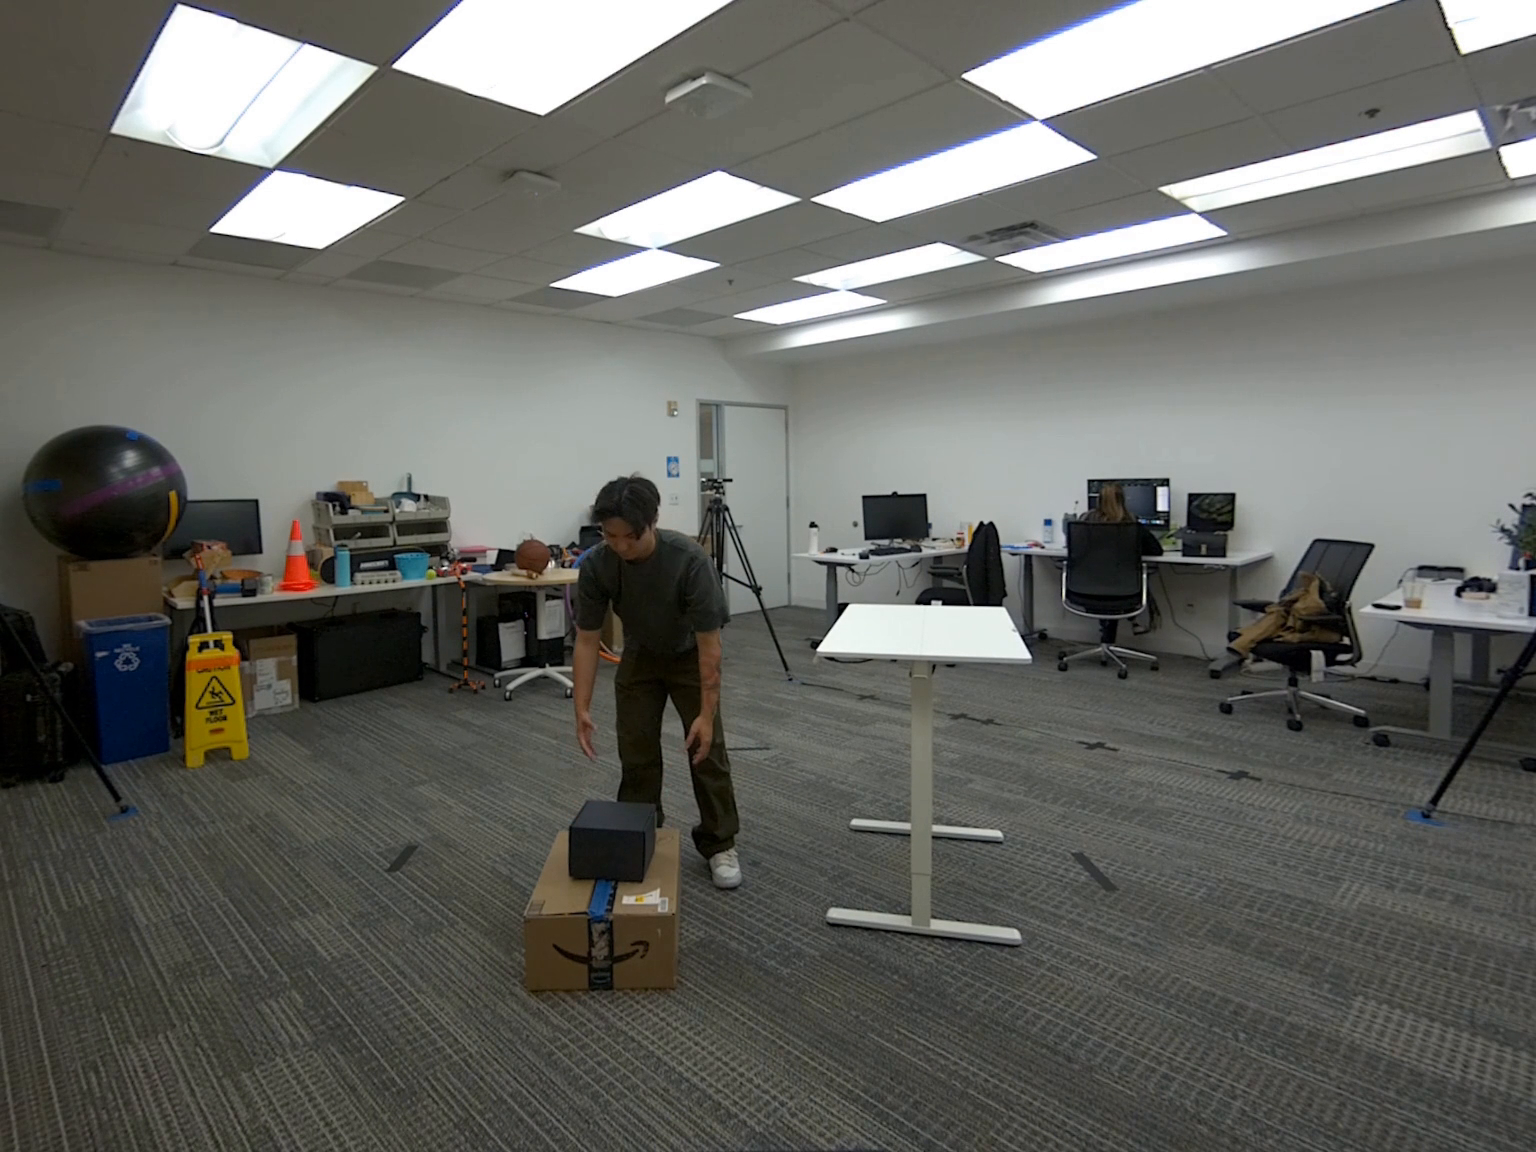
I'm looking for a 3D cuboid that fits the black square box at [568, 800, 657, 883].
[{"bbox_3d":[-0.475,0.807,2.627,0.229,0.155,0.217,1,6,3],"label":"black square box"}]
